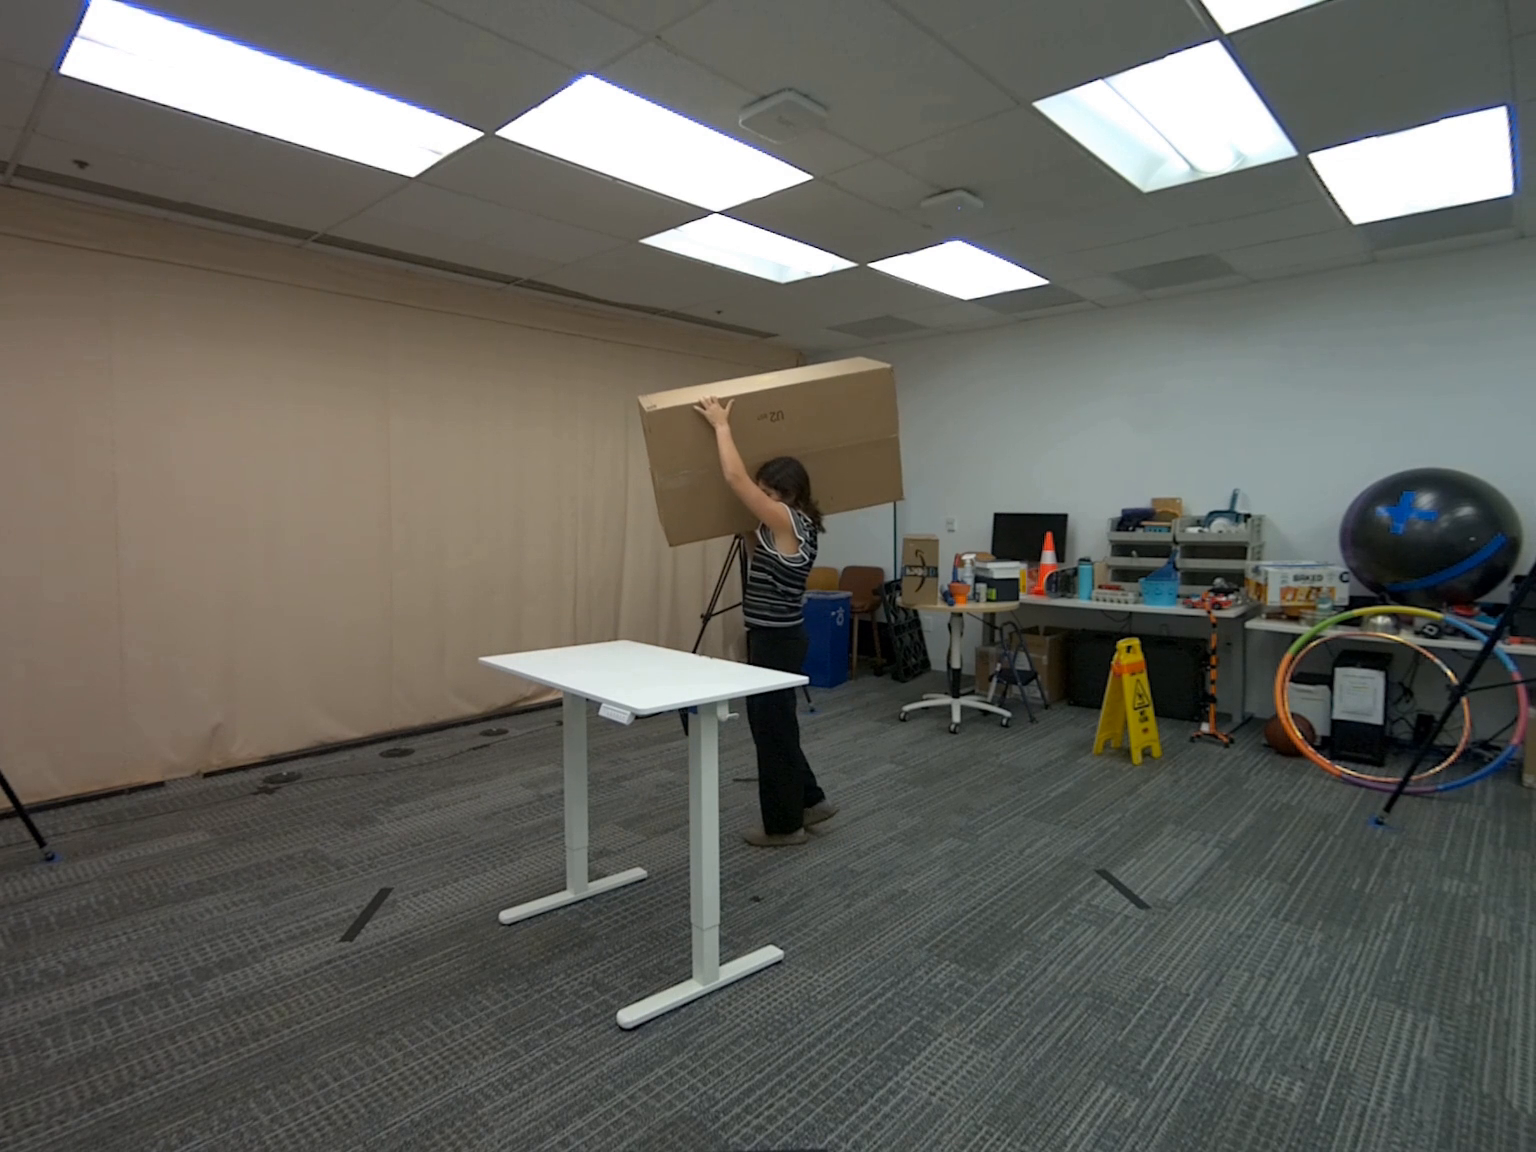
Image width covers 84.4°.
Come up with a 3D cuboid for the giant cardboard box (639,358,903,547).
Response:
[{"bbox_3d":[0.000,-0.544,3.632,1.019,0.569,0.435,-12,20,-7],"label":"giant cardboard box"}]
